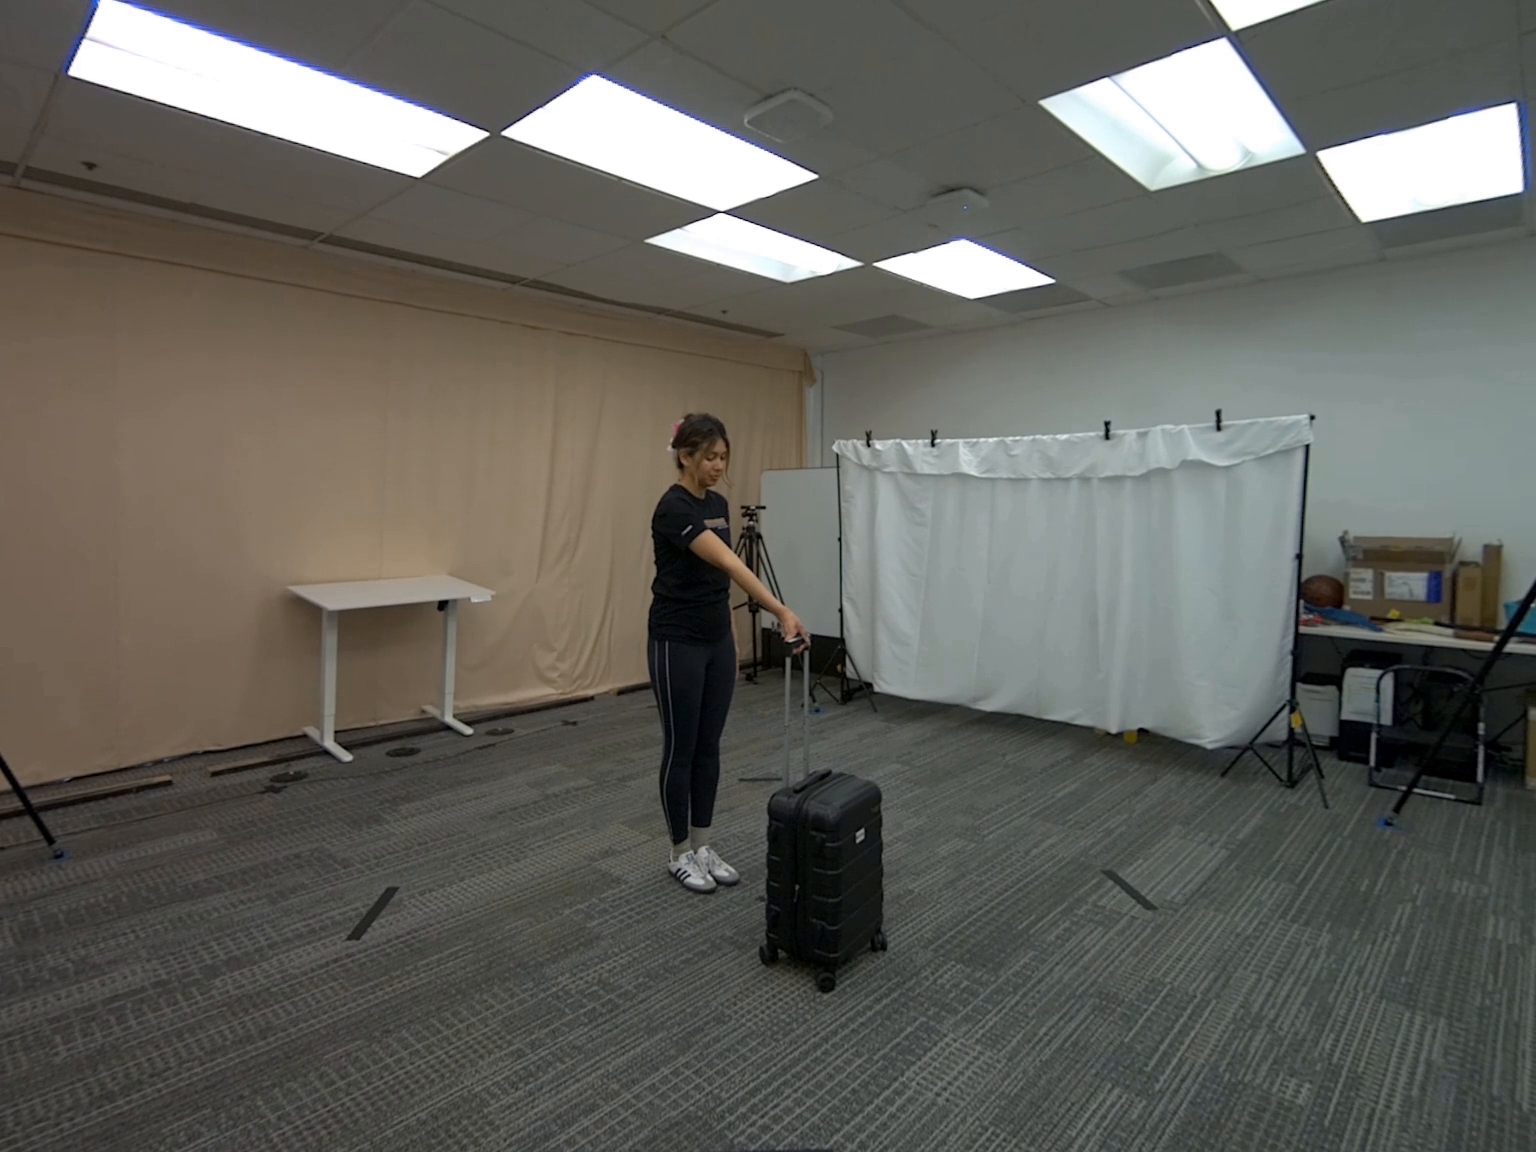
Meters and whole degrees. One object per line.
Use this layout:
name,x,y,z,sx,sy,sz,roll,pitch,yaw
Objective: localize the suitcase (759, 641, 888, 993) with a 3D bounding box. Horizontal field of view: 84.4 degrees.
suitcase,0.190,0.704,2.579,0.265,0.976,0.373,4,4,35
